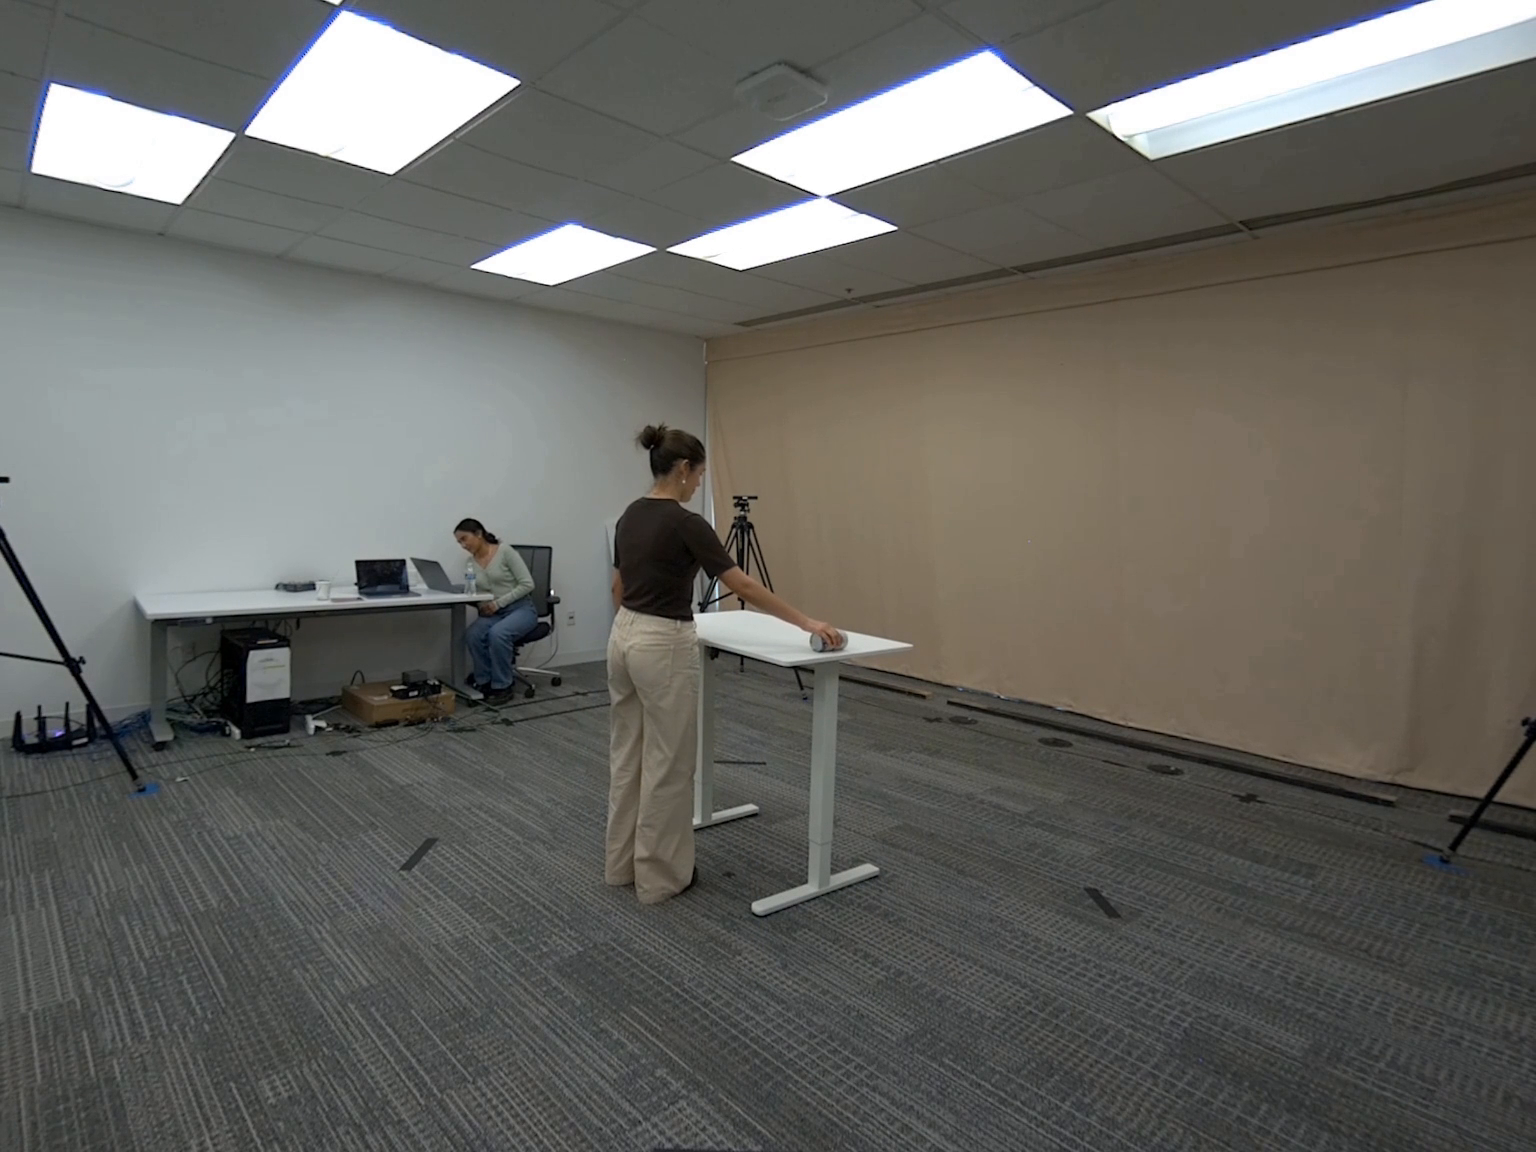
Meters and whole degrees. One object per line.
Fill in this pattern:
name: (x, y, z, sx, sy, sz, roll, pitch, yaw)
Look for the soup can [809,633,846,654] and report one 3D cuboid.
soup can: (0.205, 0.221, 2.850, 0.121, 0.067, 0.068, 2, 4, -8)
